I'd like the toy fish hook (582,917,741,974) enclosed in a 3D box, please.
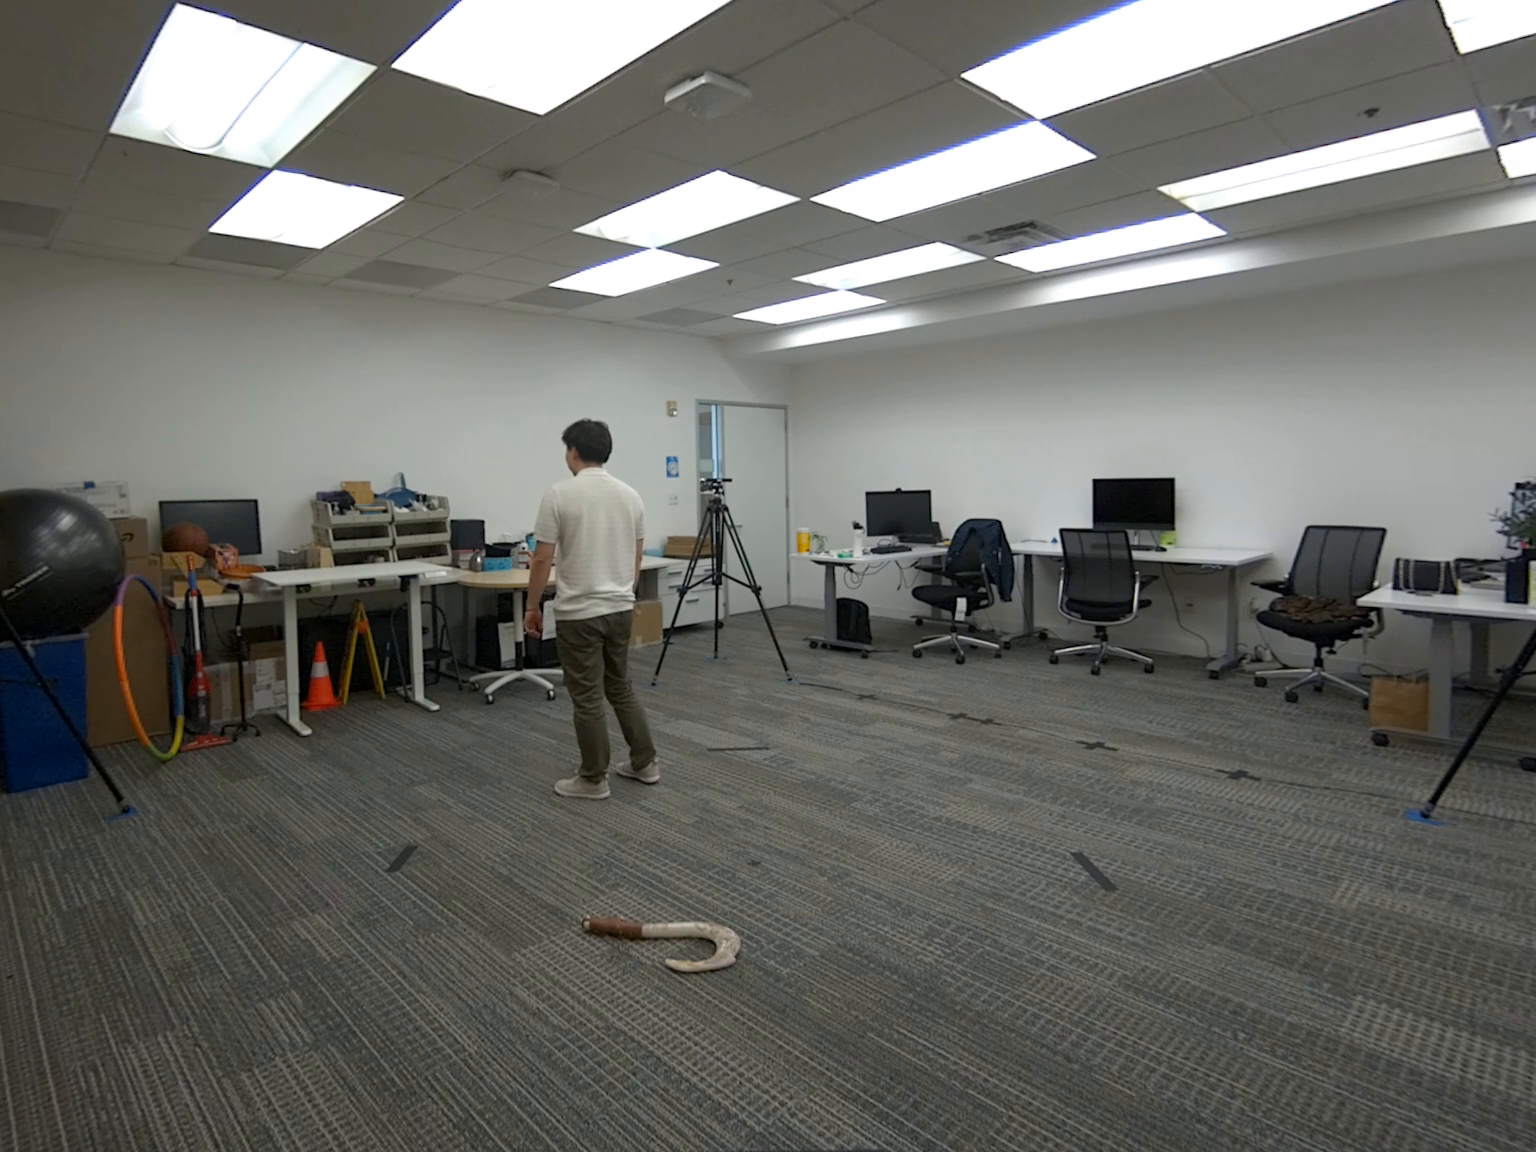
[{"bbox_3d":[-0.335,1.091,2.554,0.513,0.048,0.223,0,6,13],"label":"toy fish hook"}]
